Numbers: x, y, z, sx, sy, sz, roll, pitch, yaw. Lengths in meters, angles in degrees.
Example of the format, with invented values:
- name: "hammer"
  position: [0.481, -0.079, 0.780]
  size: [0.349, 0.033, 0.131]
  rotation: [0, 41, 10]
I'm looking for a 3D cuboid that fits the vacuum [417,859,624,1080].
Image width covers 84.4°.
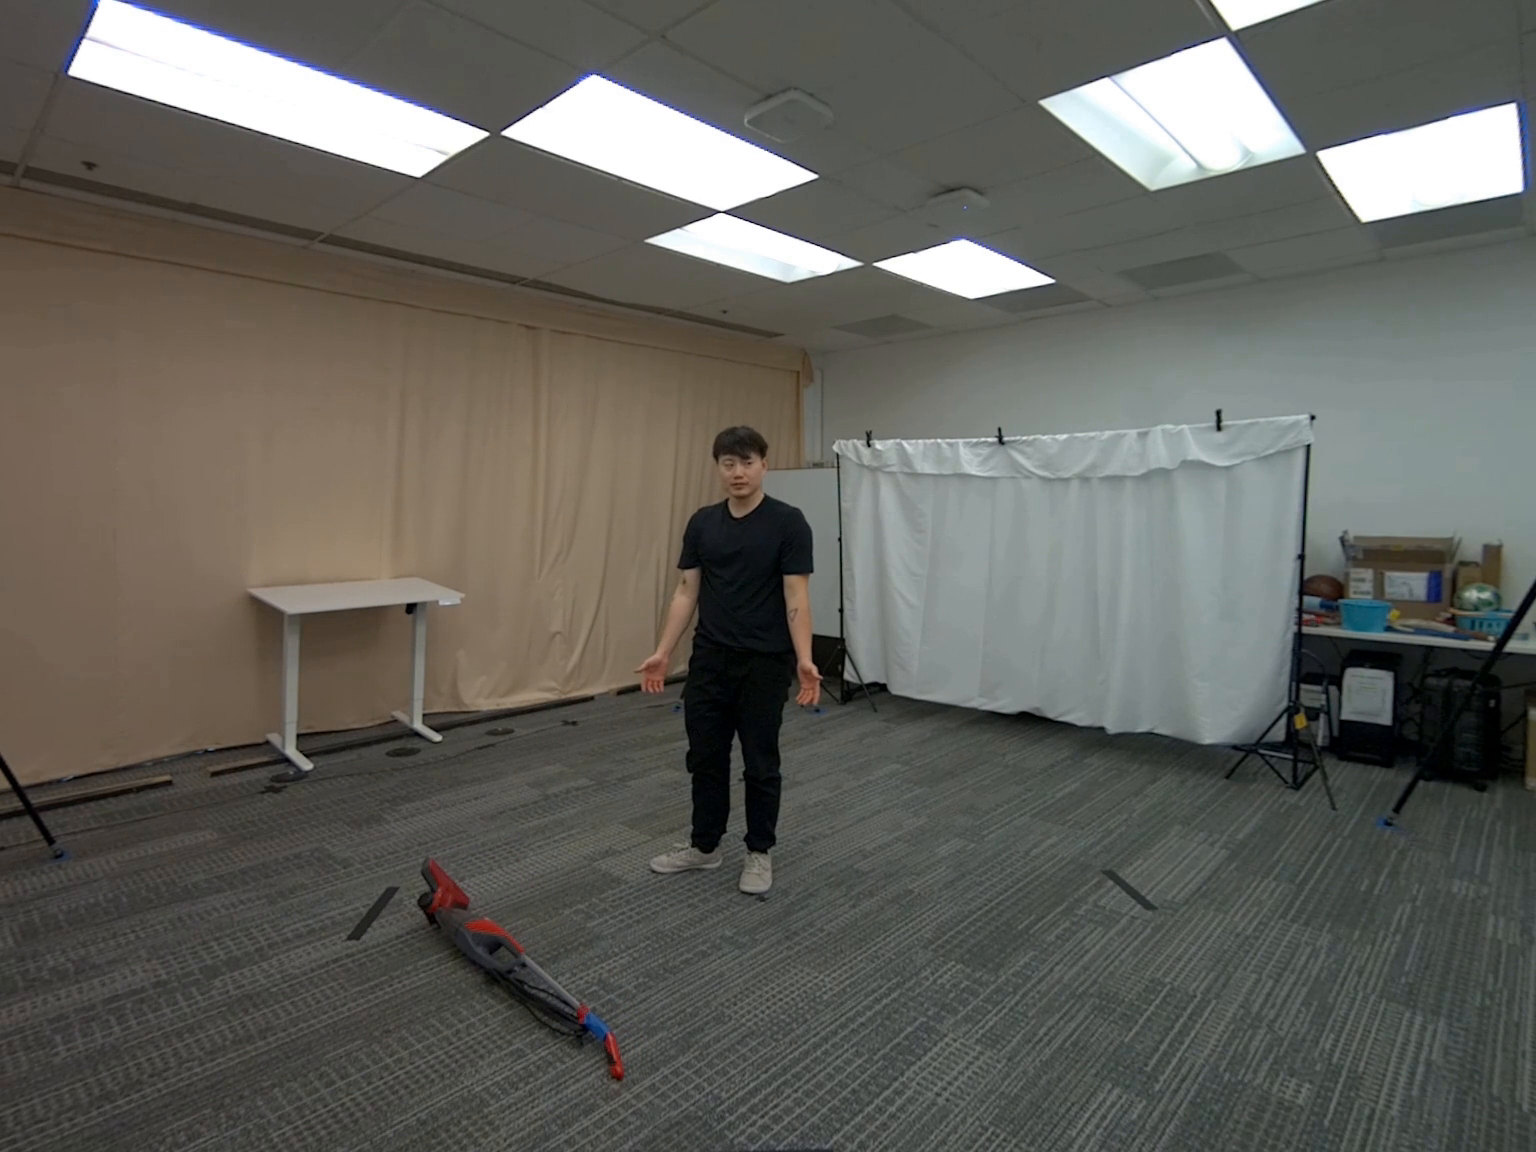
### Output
- name: "vacuum"
  position: [-0.735, 1.146, 2.442]
  size: [1.086, 0.246, 0.143]
  rotation: [10, 47, 46]
